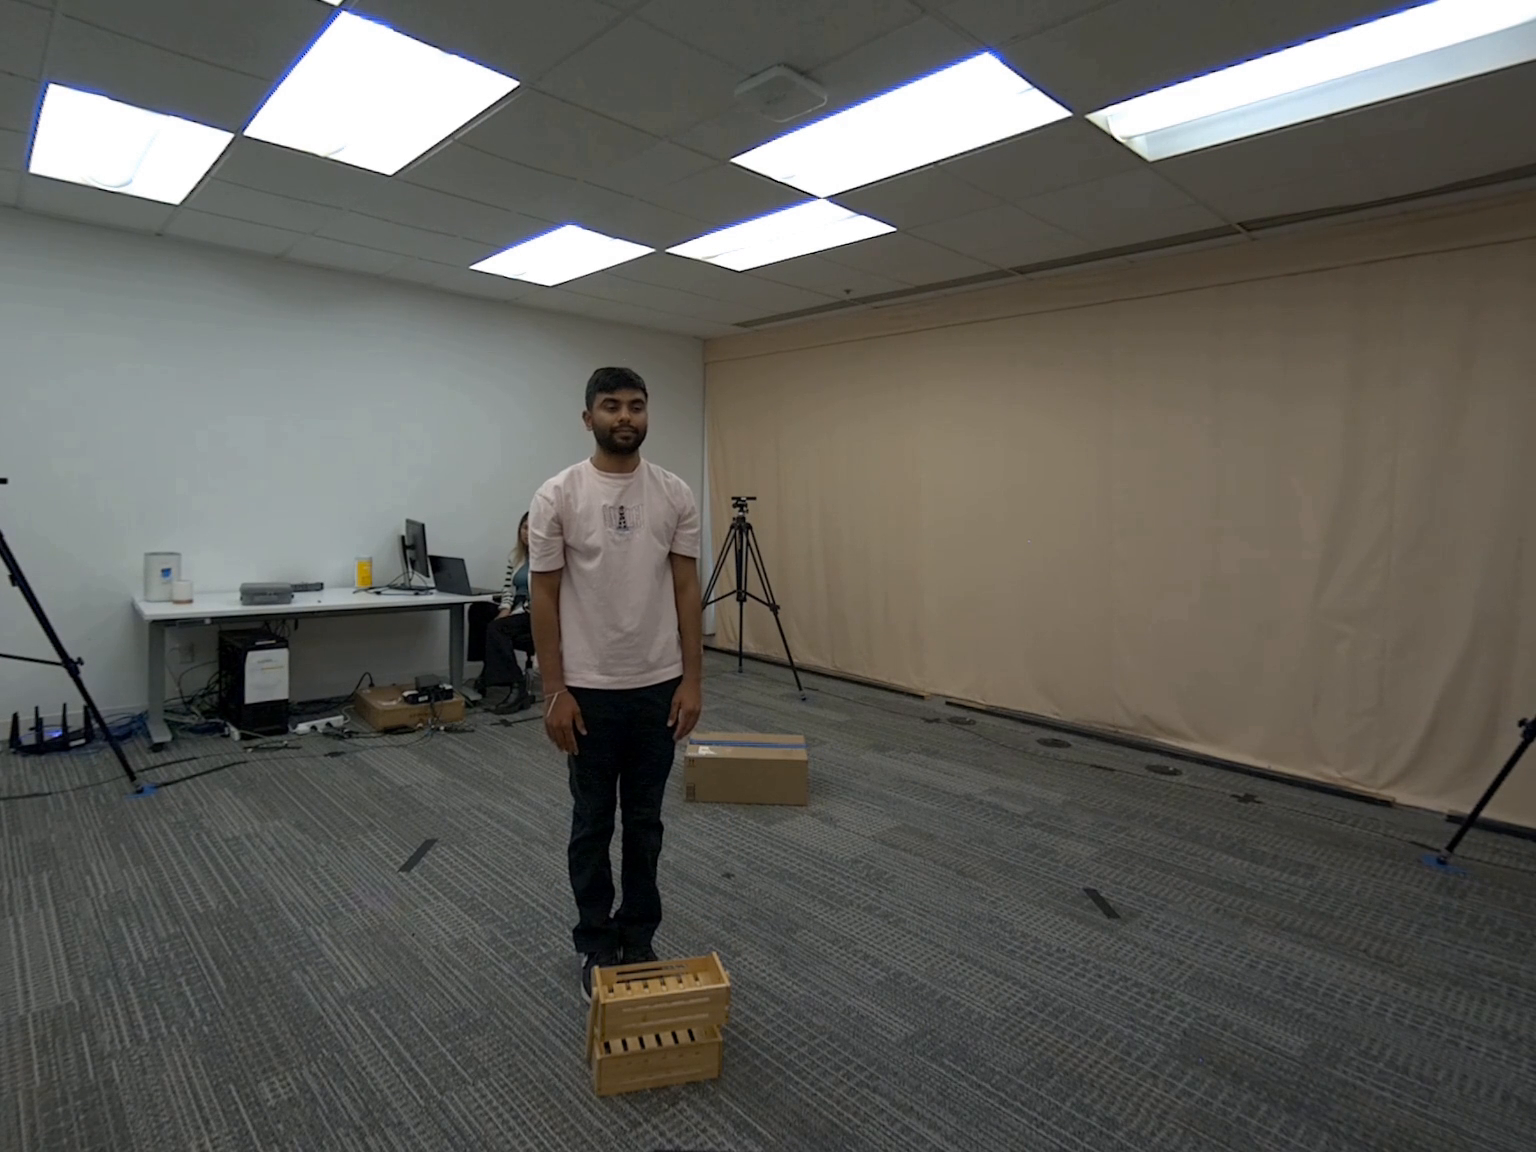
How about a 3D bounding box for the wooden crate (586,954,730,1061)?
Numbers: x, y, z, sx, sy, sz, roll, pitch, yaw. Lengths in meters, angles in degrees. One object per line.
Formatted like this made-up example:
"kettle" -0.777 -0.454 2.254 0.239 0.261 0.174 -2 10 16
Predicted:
"wooden crate" -0.284 1.058 2.077 0.320 0.272 0.307 0 5 -17
